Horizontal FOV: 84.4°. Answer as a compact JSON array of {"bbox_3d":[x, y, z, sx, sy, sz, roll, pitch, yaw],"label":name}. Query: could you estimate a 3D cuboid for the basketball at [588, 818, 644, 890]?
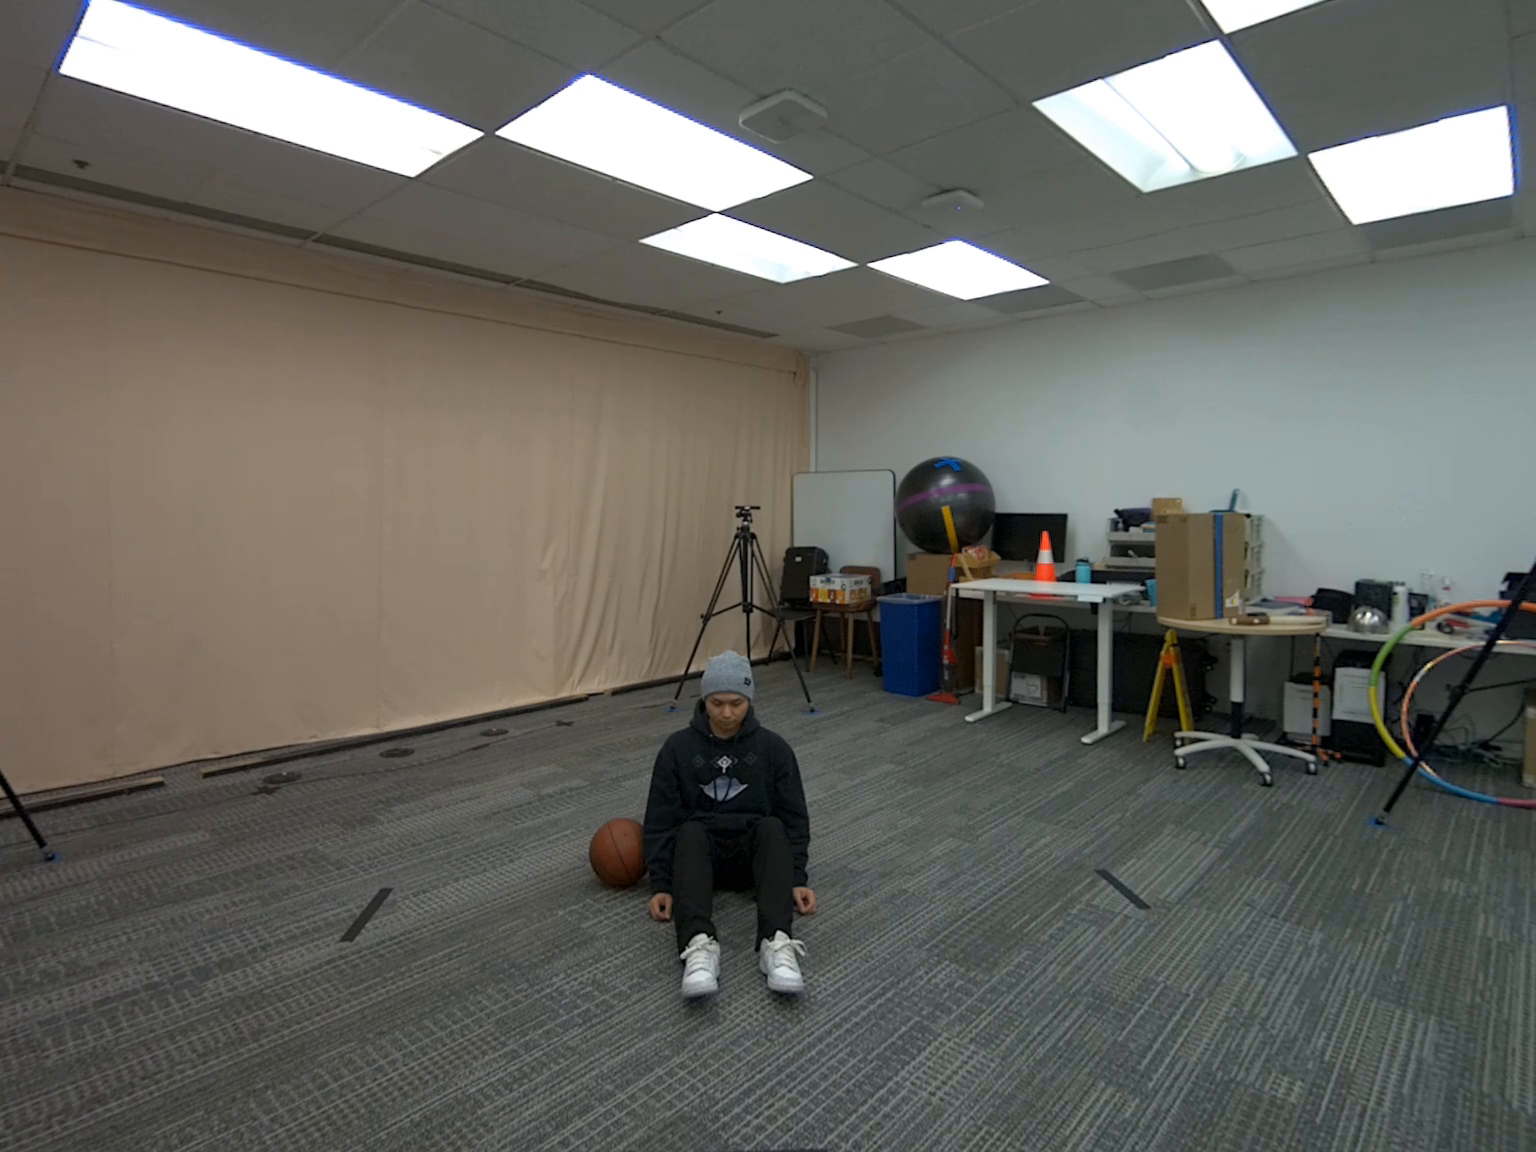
[{"bbox_3d":[-0.536,1.016,3.121,0.236,0.235,0.237,0,4,-2],"label":"basketball"}]
